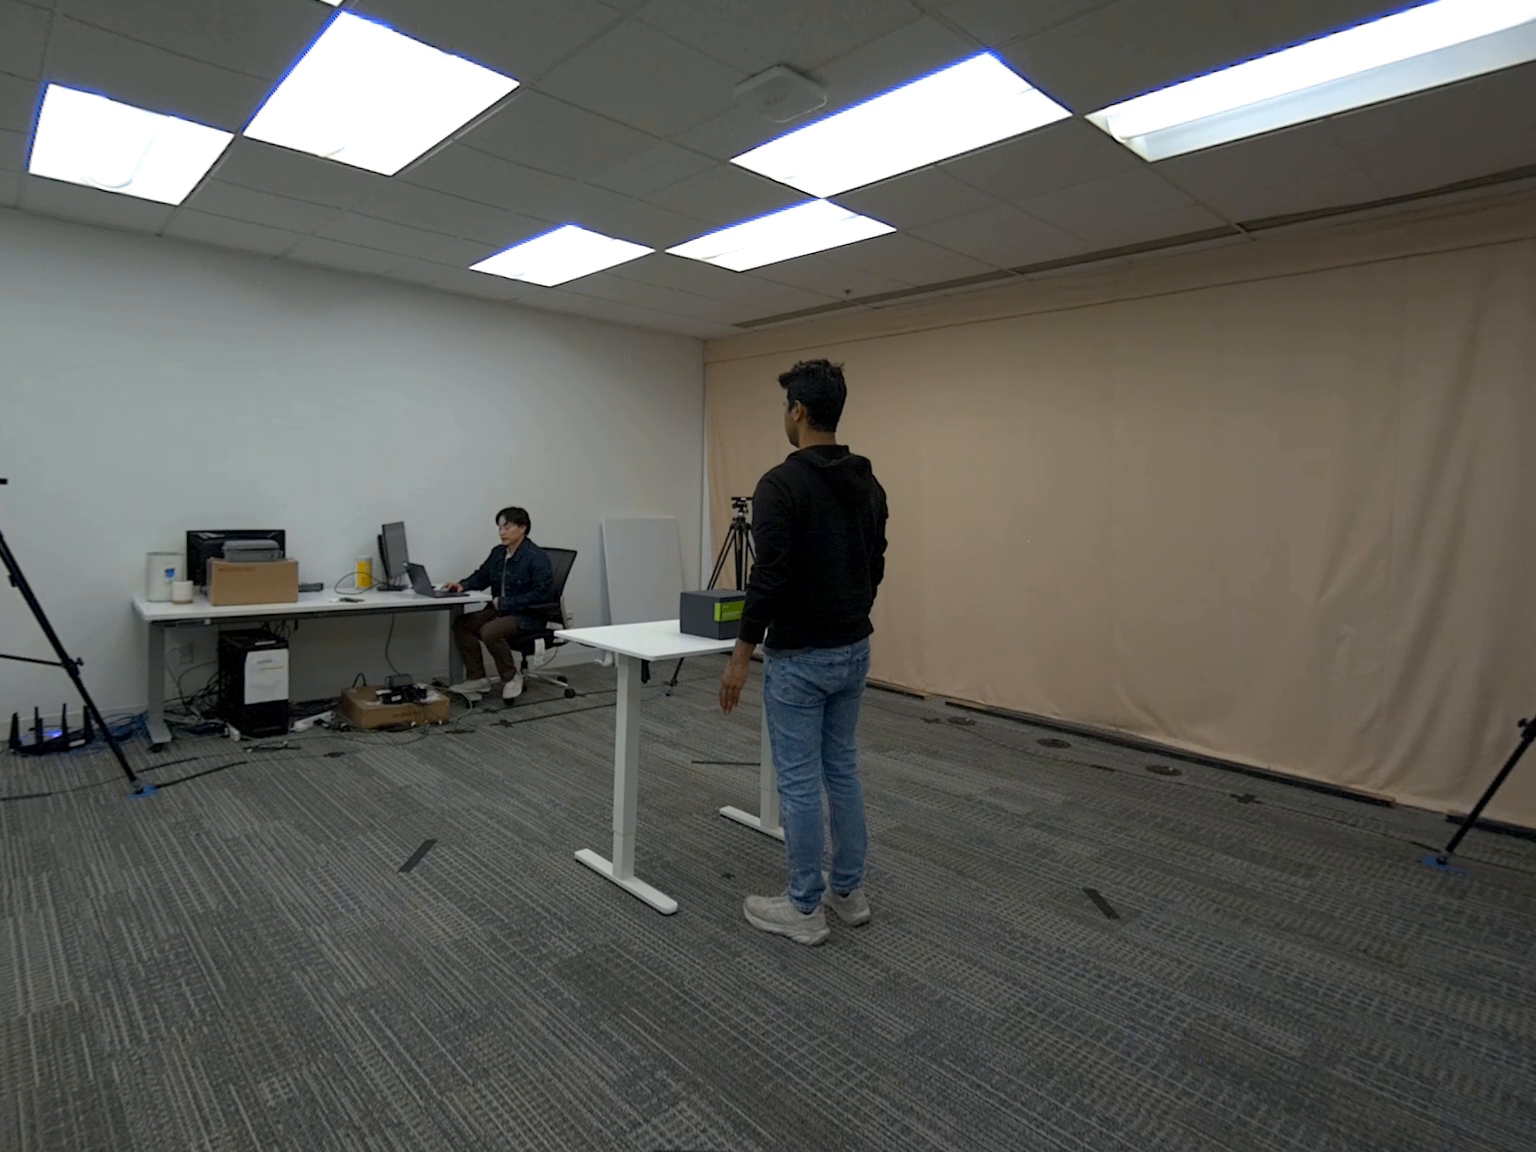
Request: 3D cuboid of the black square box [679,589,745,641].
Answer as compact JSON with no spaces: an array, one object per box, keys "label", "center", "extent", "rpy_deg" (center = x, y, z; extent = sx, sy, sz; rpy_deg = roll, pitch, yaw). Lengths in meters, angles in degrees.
[{"label":"black square box","center":[-0.178,0.139,3.159],"extent":[0.222,0.155,0.223],"rpy_deg":[6,6,42]}]
